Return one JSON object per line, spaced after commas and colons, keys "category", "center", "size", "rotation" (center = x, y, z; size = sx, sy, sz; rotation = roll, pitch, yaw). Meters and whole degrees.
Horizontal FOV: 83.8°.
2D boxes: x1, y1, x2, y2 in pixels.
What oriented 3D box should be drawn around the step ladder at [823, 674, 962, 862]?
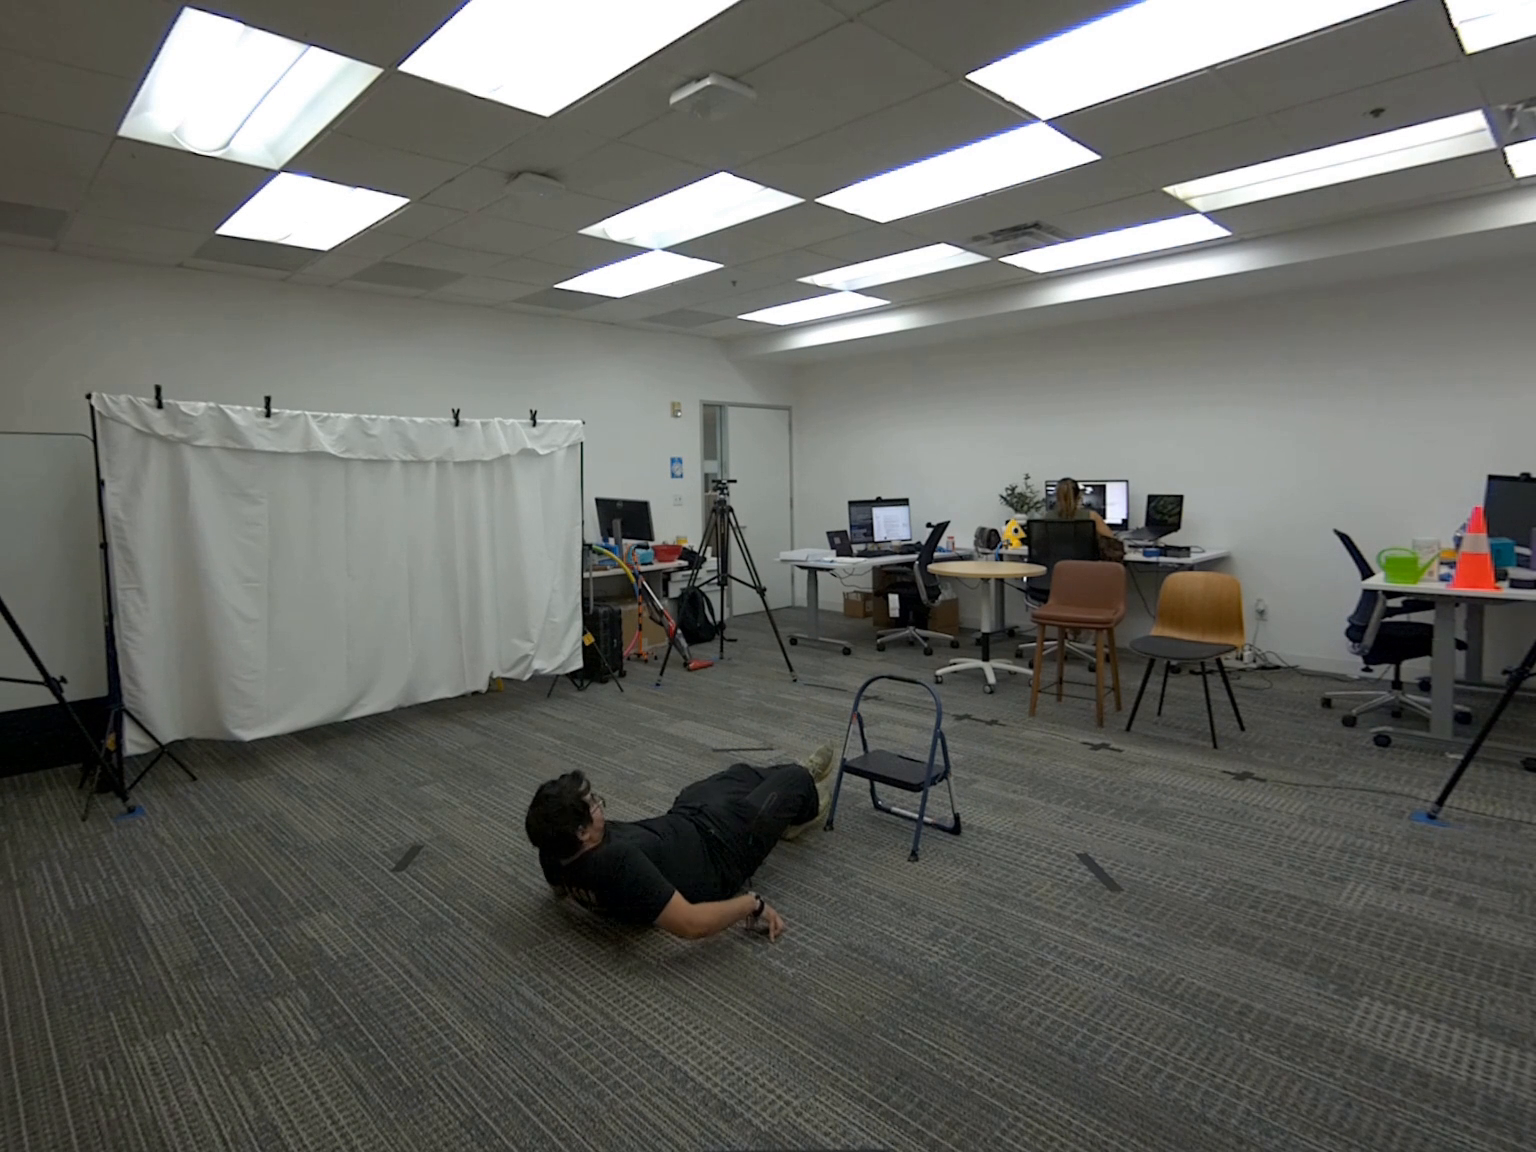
{"category": "step ladder", "center": [0.492, 0.707, 3.352], "size": [0.444, 0.604, 0.340], "rotation": [4, 6, 44]}
